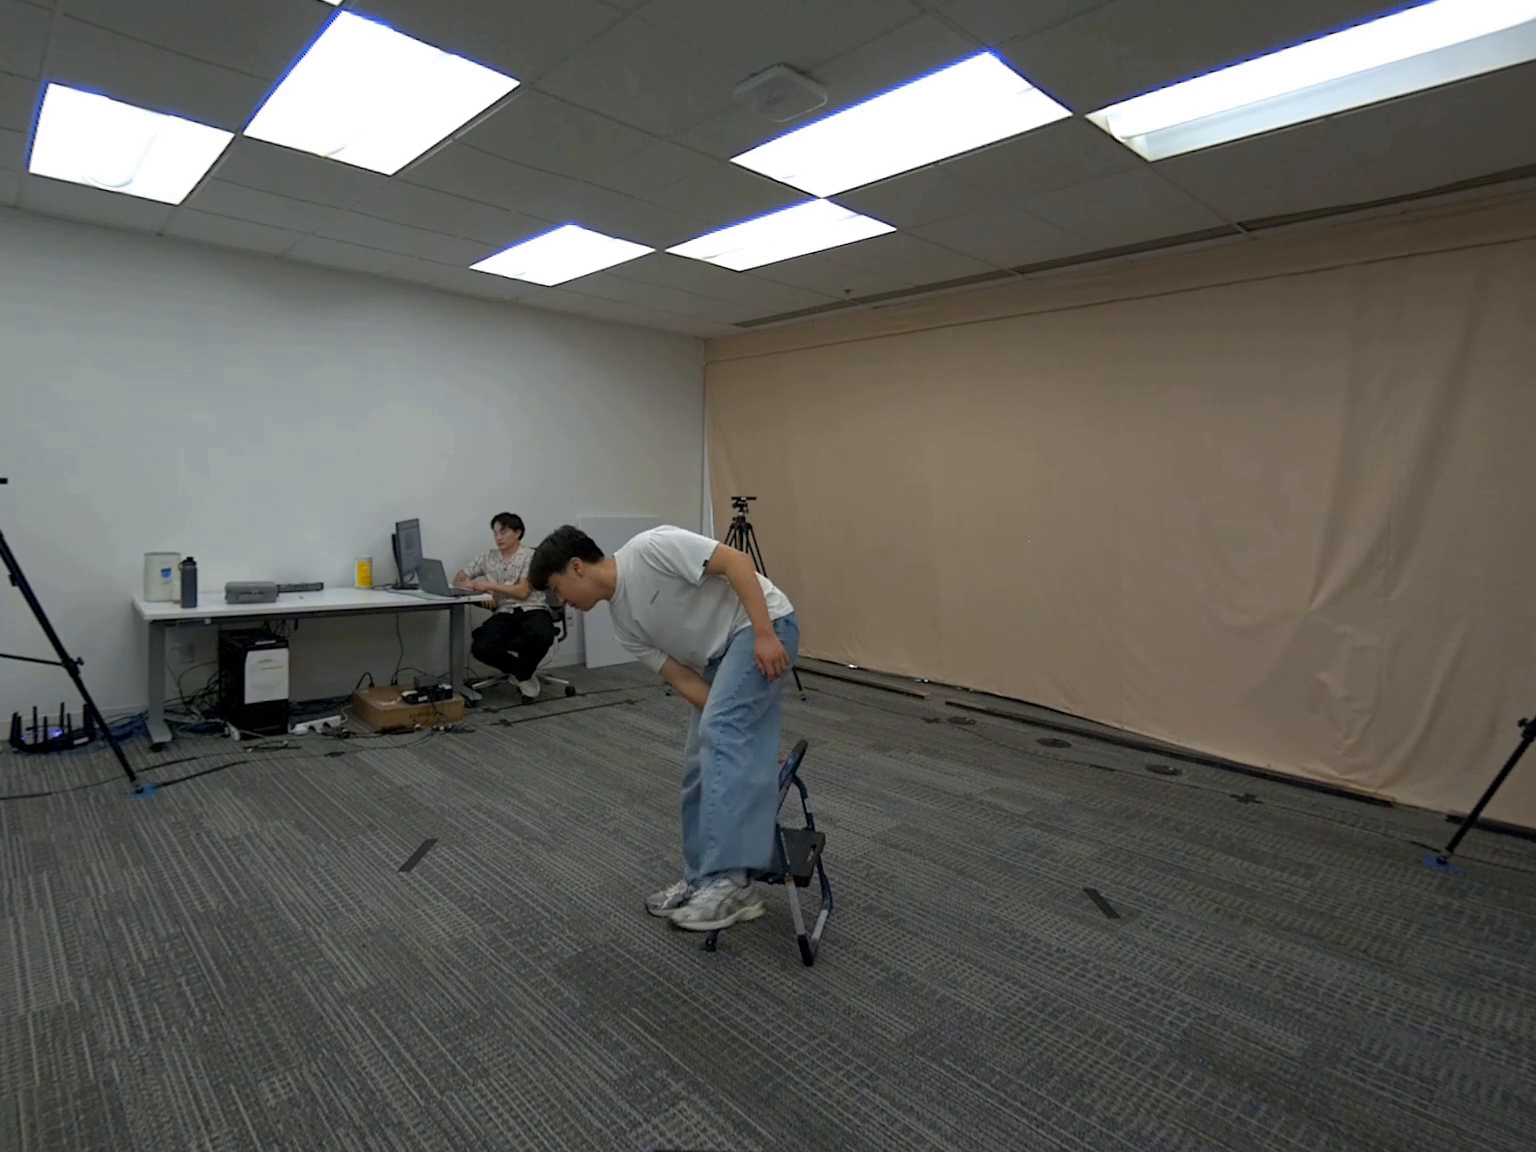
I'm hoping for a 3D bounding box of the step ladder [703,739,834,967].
[{"bbox_3d":[0.019,0.842,2.721,0.353,0.604,0.427,3,4,13],"label":"step ladder"}]
